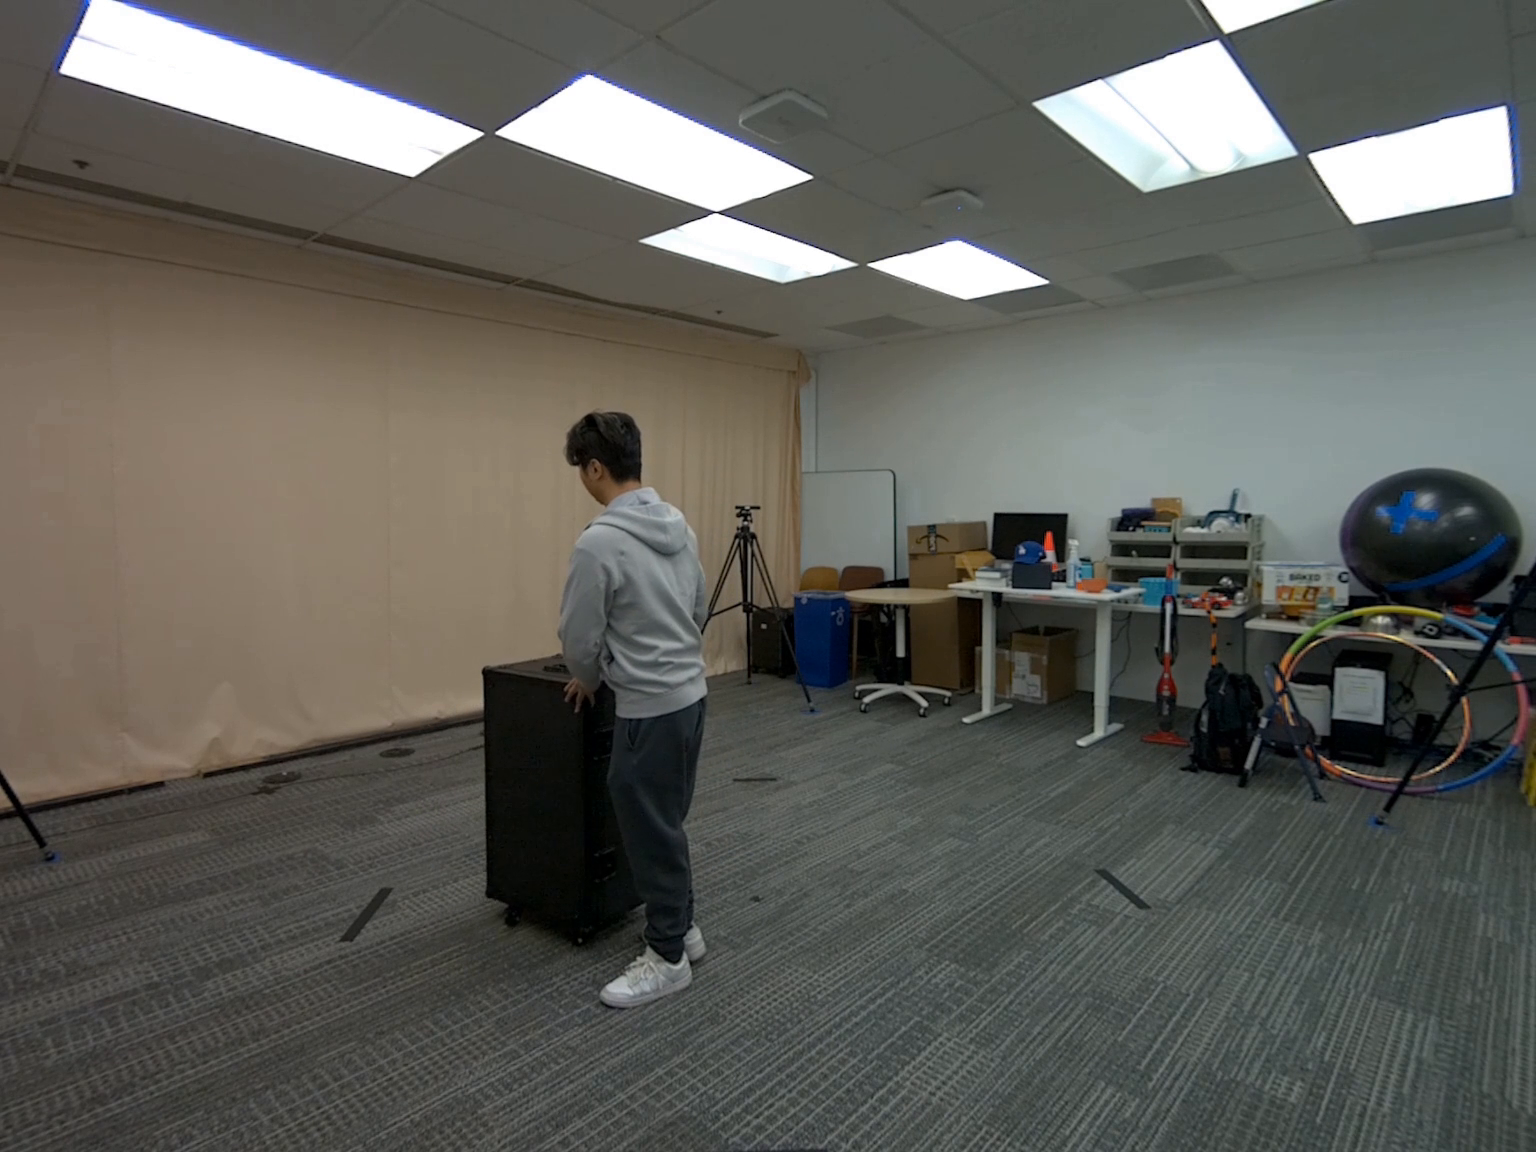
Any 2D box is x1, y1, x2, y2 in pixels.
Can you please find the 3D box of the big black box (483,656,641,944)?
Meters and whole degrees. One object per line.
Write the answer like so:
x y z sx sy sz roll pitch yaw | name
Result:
-0.668 0.735 2.865 0.538 0.860 0.384 3 2 35 | big black box
